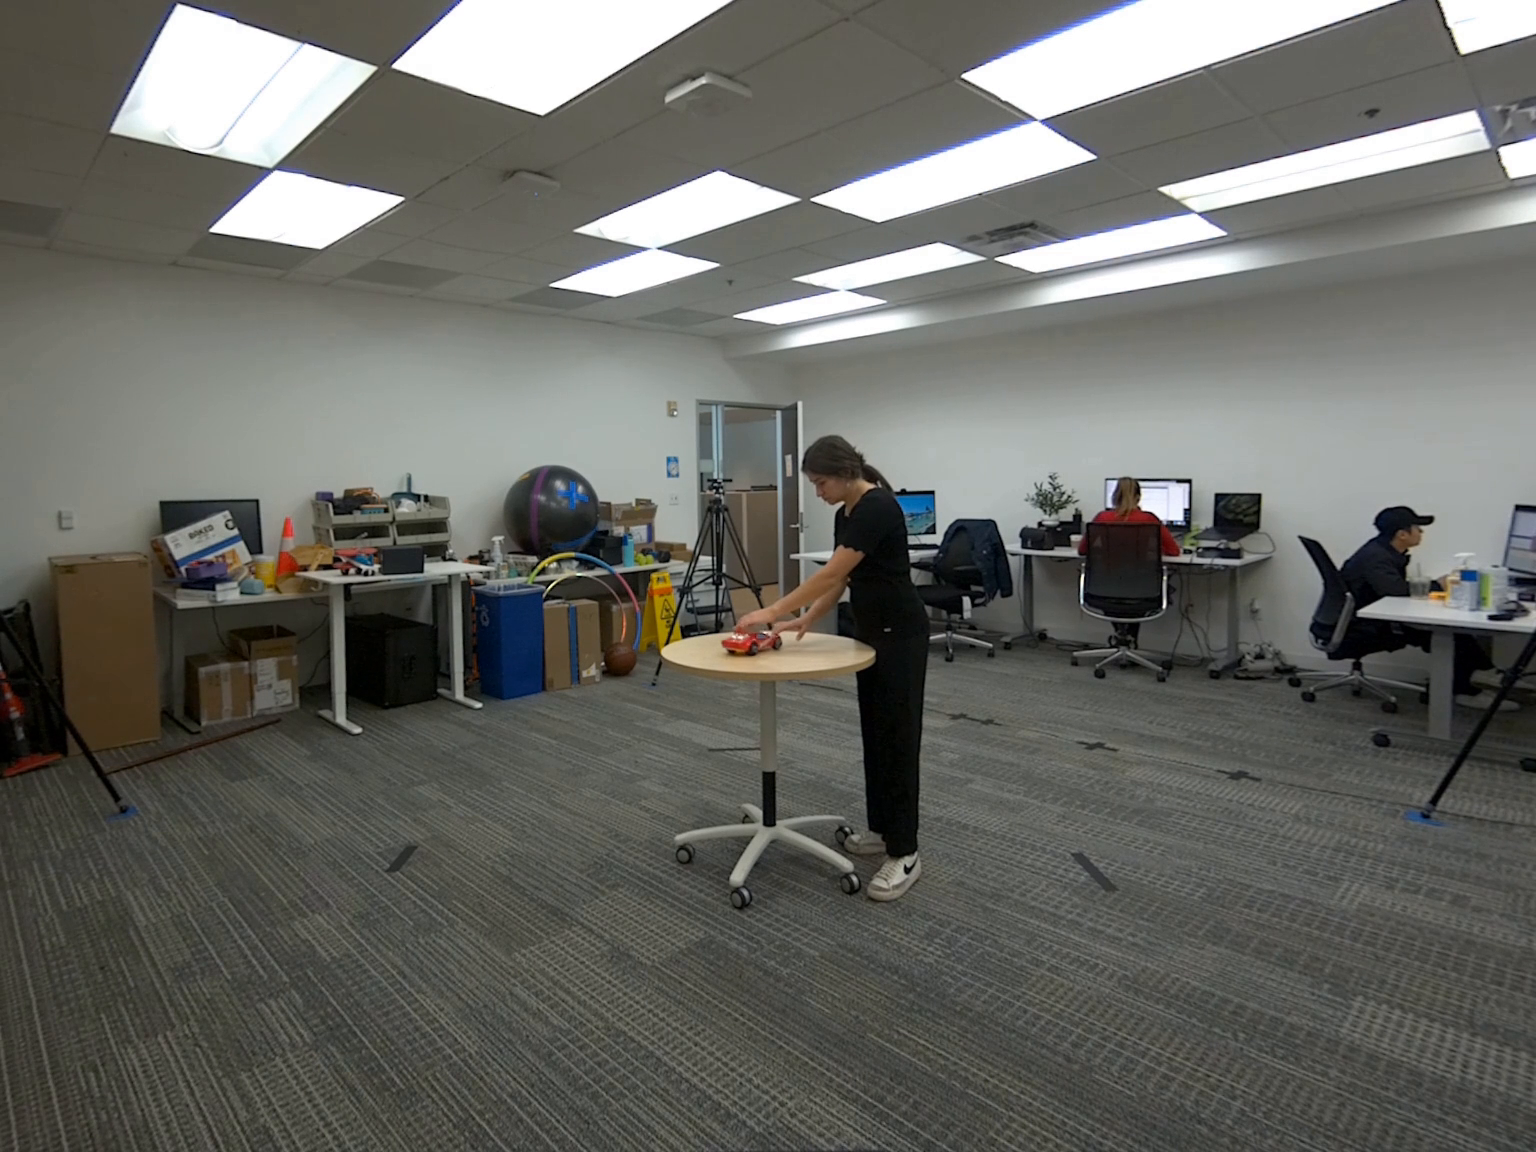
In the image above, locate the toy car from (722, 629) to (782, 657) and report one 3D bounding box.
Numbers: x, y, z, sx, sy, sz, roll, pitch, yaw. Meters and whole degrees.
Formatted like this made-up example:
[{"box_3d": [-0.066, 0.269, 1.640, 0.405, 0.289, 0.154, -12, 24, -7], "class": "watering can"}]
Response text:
[{"box_3d": [-0.060, 0.239, 3.026, 0.134, 0.083, 0.246, 3, -5, 37], "class": "toy car"}]
